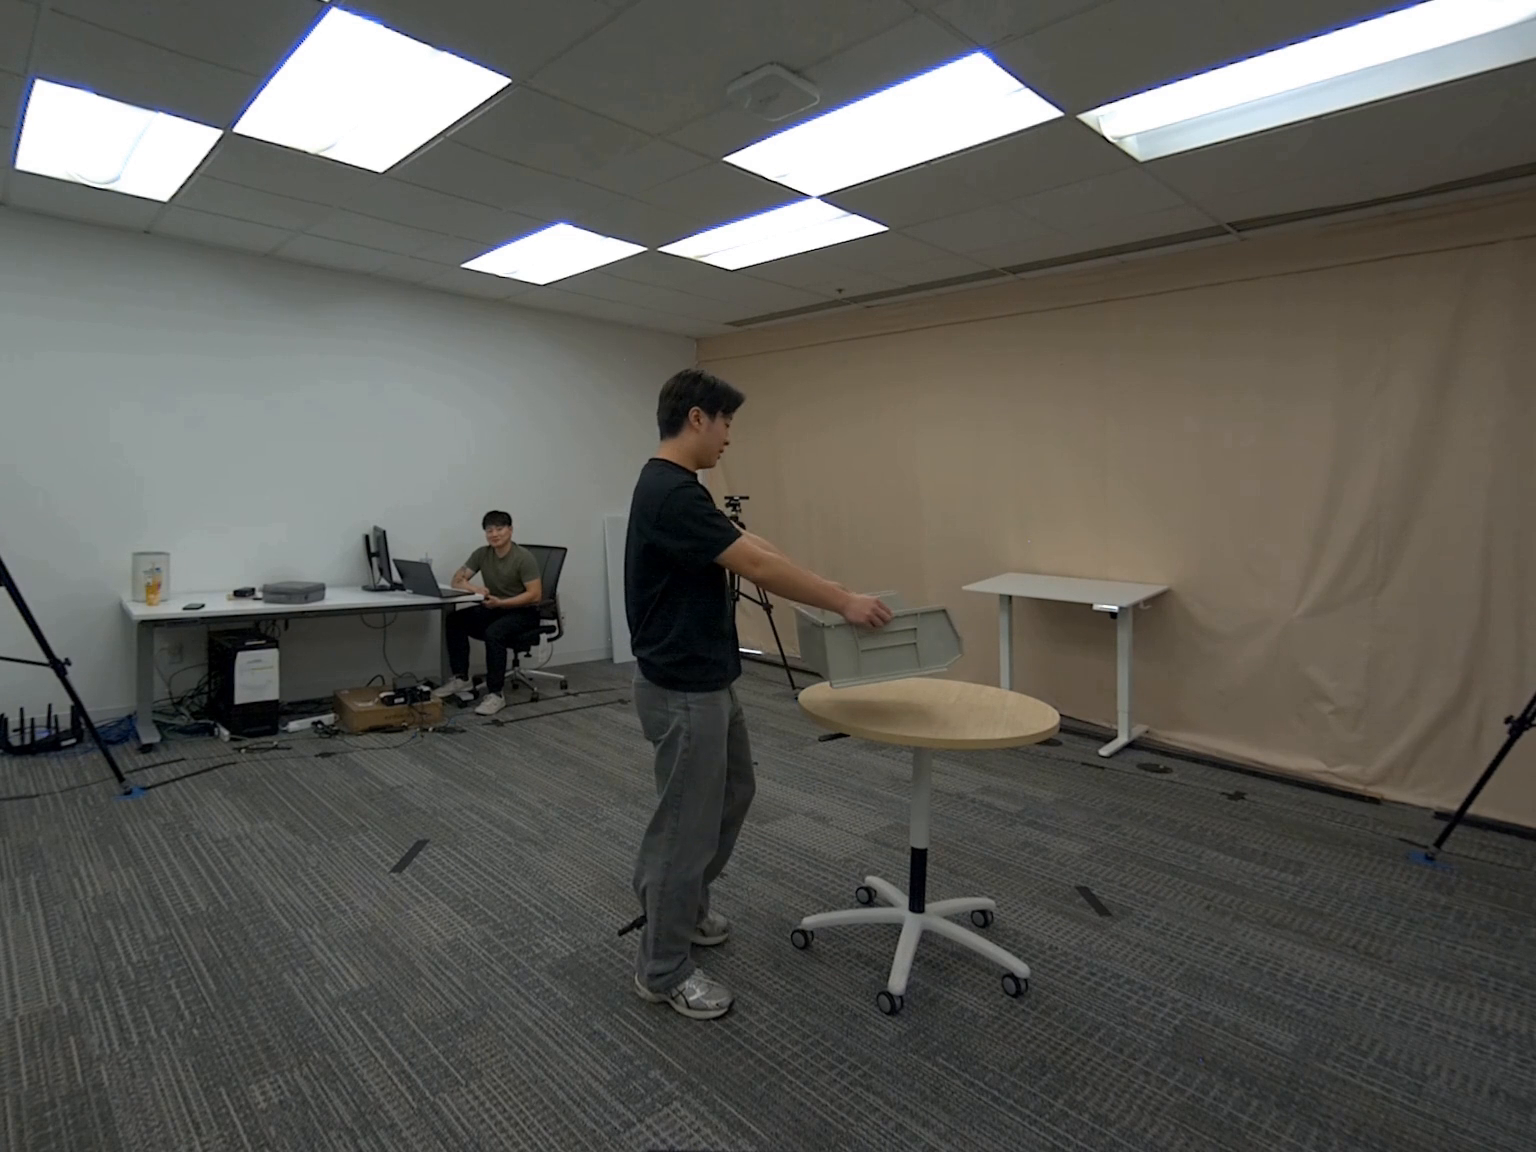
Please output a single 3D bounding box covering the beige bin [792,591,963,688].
[{"bbox_3d":[0.288,0.180,2.400,0.376,0.188,0.426,-8,7,-6],"label":"beige bin"}]
